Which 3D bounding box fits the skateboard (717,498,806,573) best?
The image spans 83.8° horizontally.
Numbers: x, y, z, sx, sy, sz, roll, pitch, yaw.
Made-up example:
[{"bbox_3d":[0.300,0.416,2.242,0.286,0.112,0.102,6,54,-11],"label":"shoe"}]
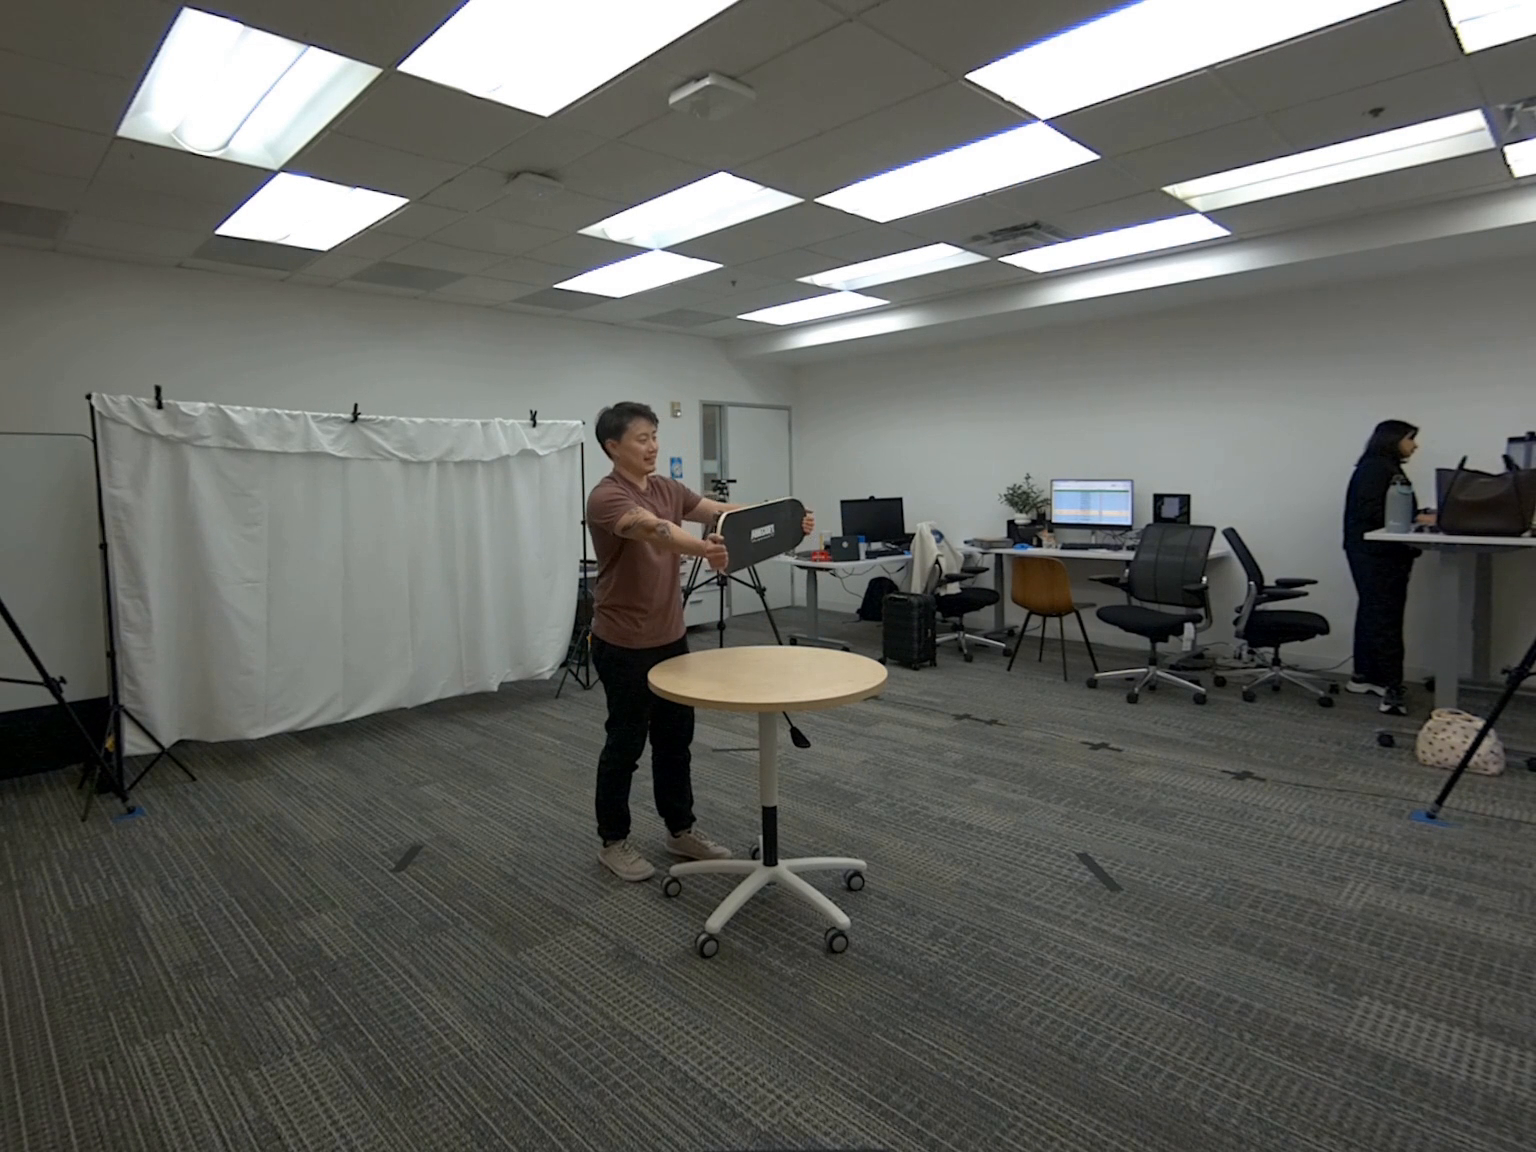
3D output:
[{"bbox_3d":[-0.049,-0.140,2.894,0.112,0.192,0.774,-5,7,24],"label":"skateboard"}]
